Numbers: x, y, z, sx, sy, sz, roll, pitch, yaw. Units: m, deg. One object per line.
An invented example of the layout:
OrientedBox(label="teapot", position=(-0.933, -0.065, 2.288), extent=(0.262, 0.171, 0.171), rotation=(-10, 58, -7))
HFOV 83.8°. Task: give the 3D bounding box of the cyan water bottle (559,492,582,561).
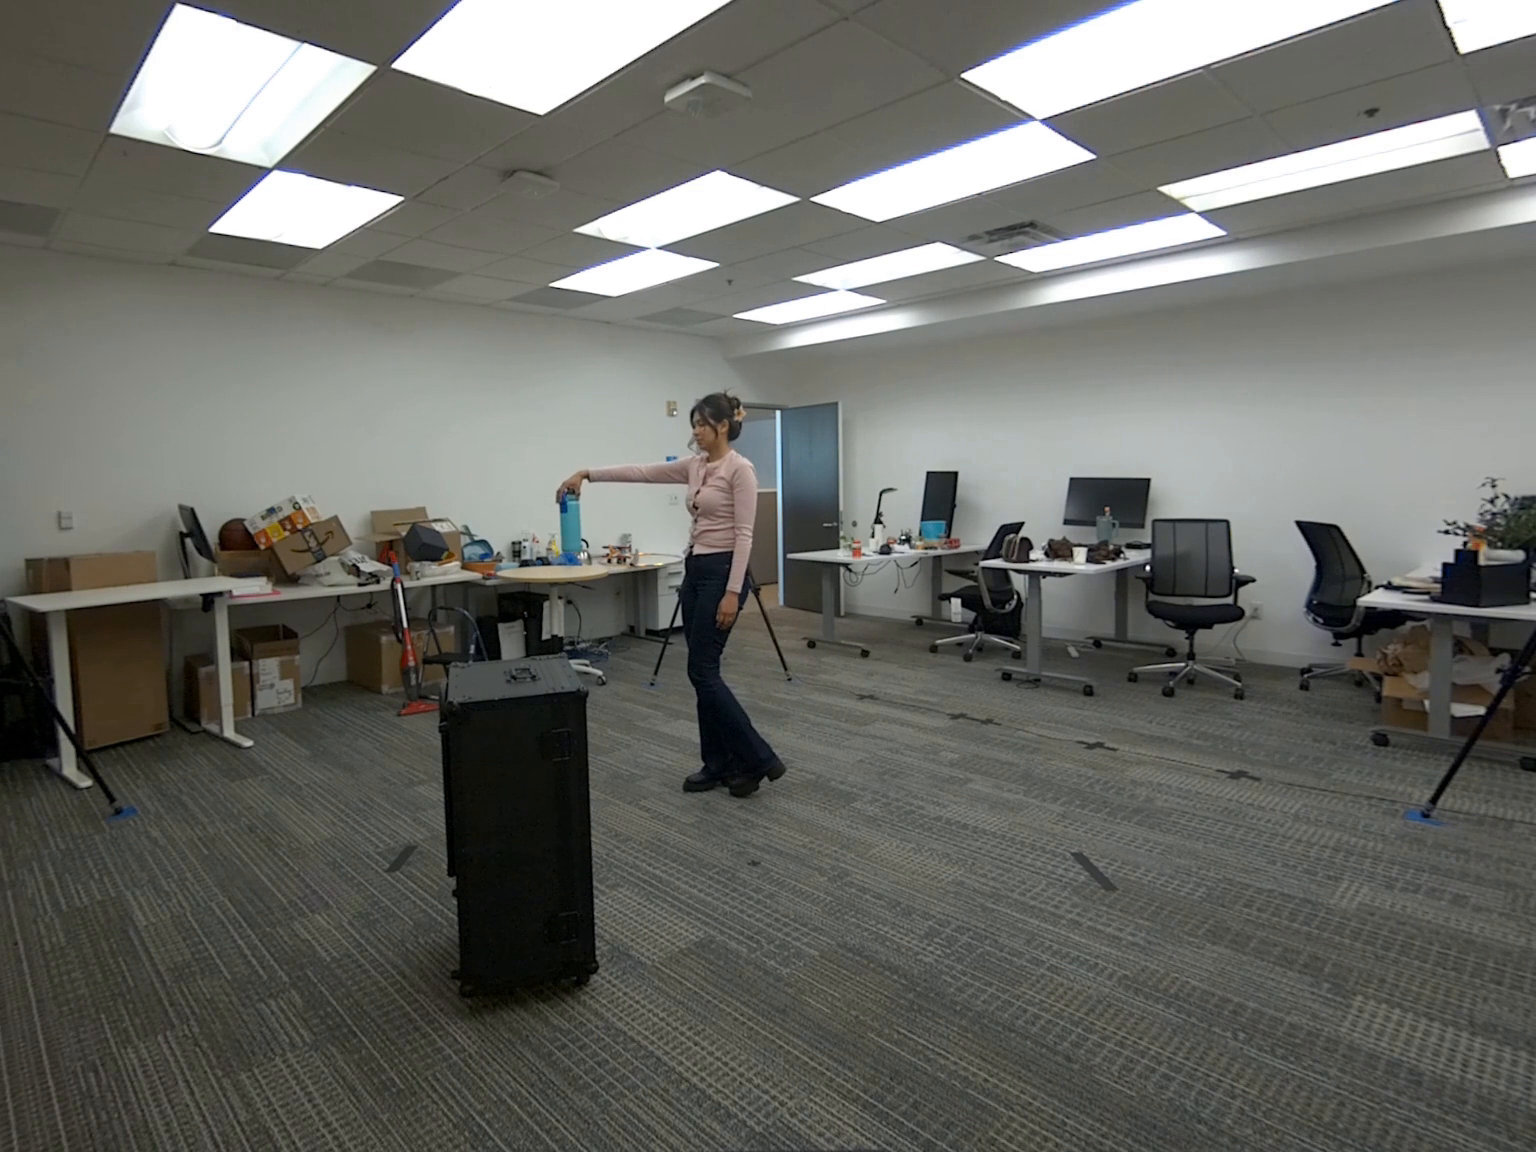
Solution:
OrientedBox(label="cyan water bottle", position=(-0.882, -0.249, 3.802), extent=(0.092, 0.282, 0.093), rotation=(-1, 3, -2))
